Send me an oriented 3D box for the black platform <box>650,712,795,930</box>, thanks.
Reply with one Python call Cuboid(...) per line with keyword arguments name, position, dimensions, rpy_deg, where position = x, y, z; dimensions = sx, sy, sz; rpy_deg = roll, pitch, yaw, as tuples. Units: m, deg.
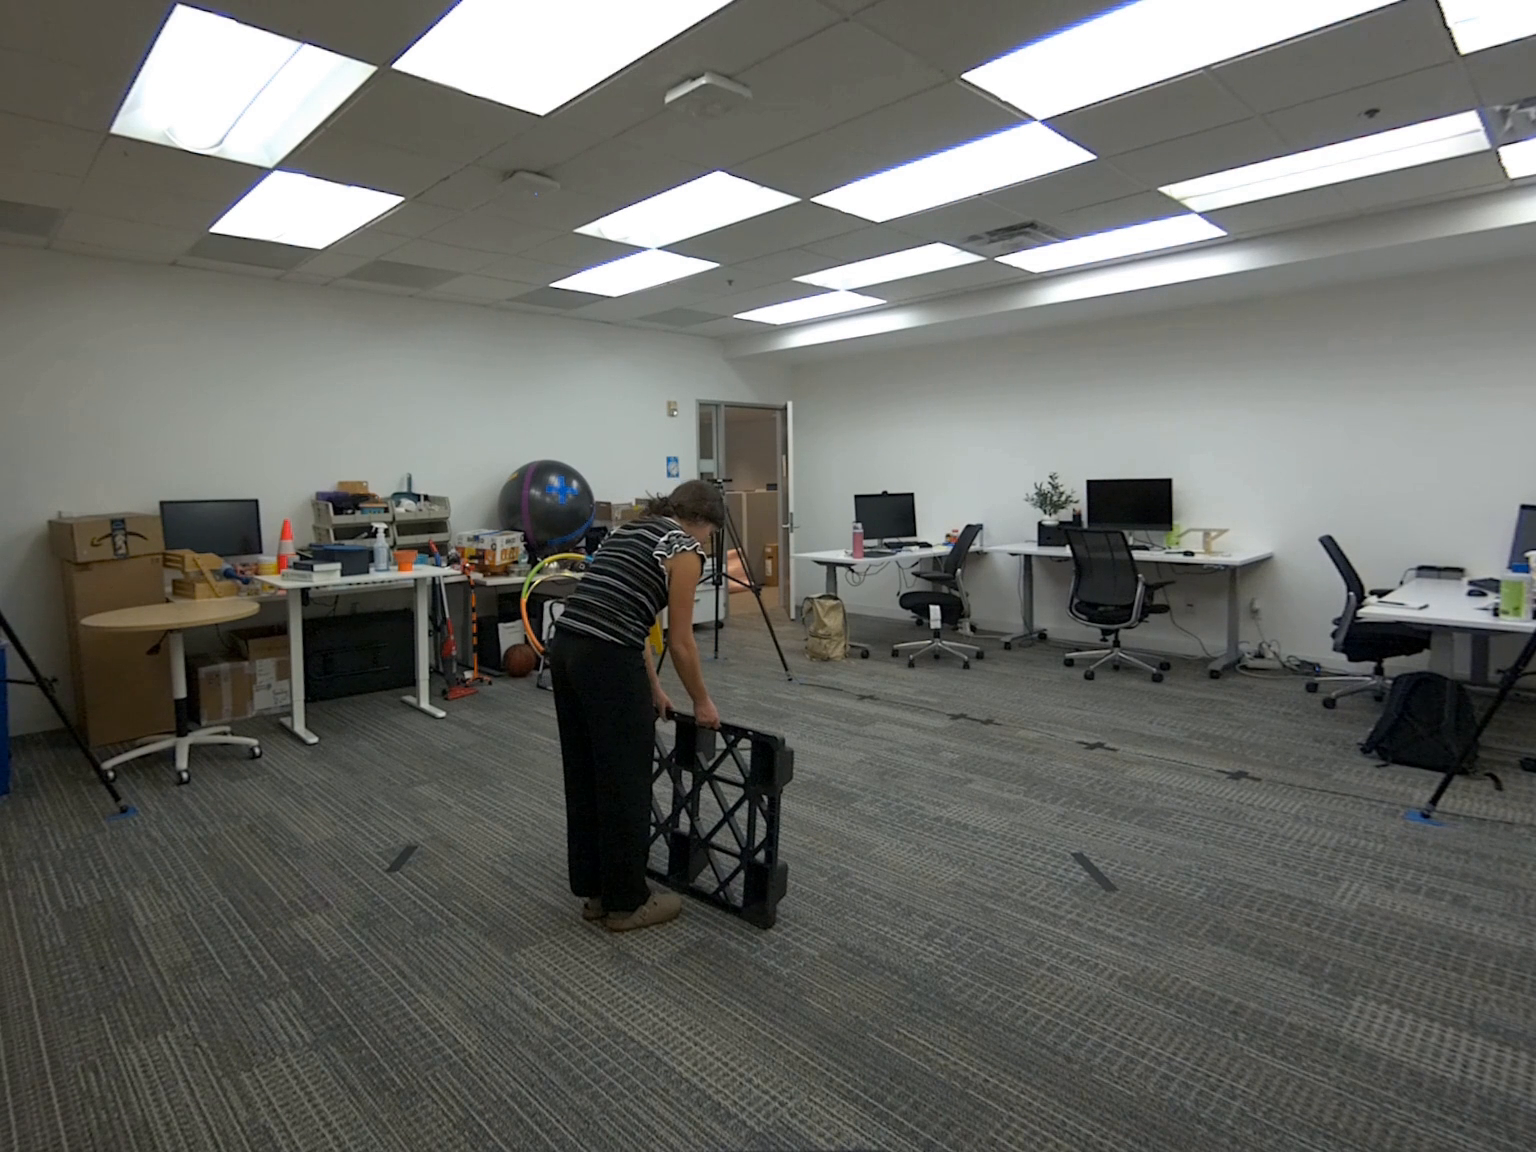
Cuboid(name="black platform", position=(-0.257, 0.764, 2.957), dimensions=(0.830, 0.605, 0.139), rpy_deg=(4, -1, 40))
